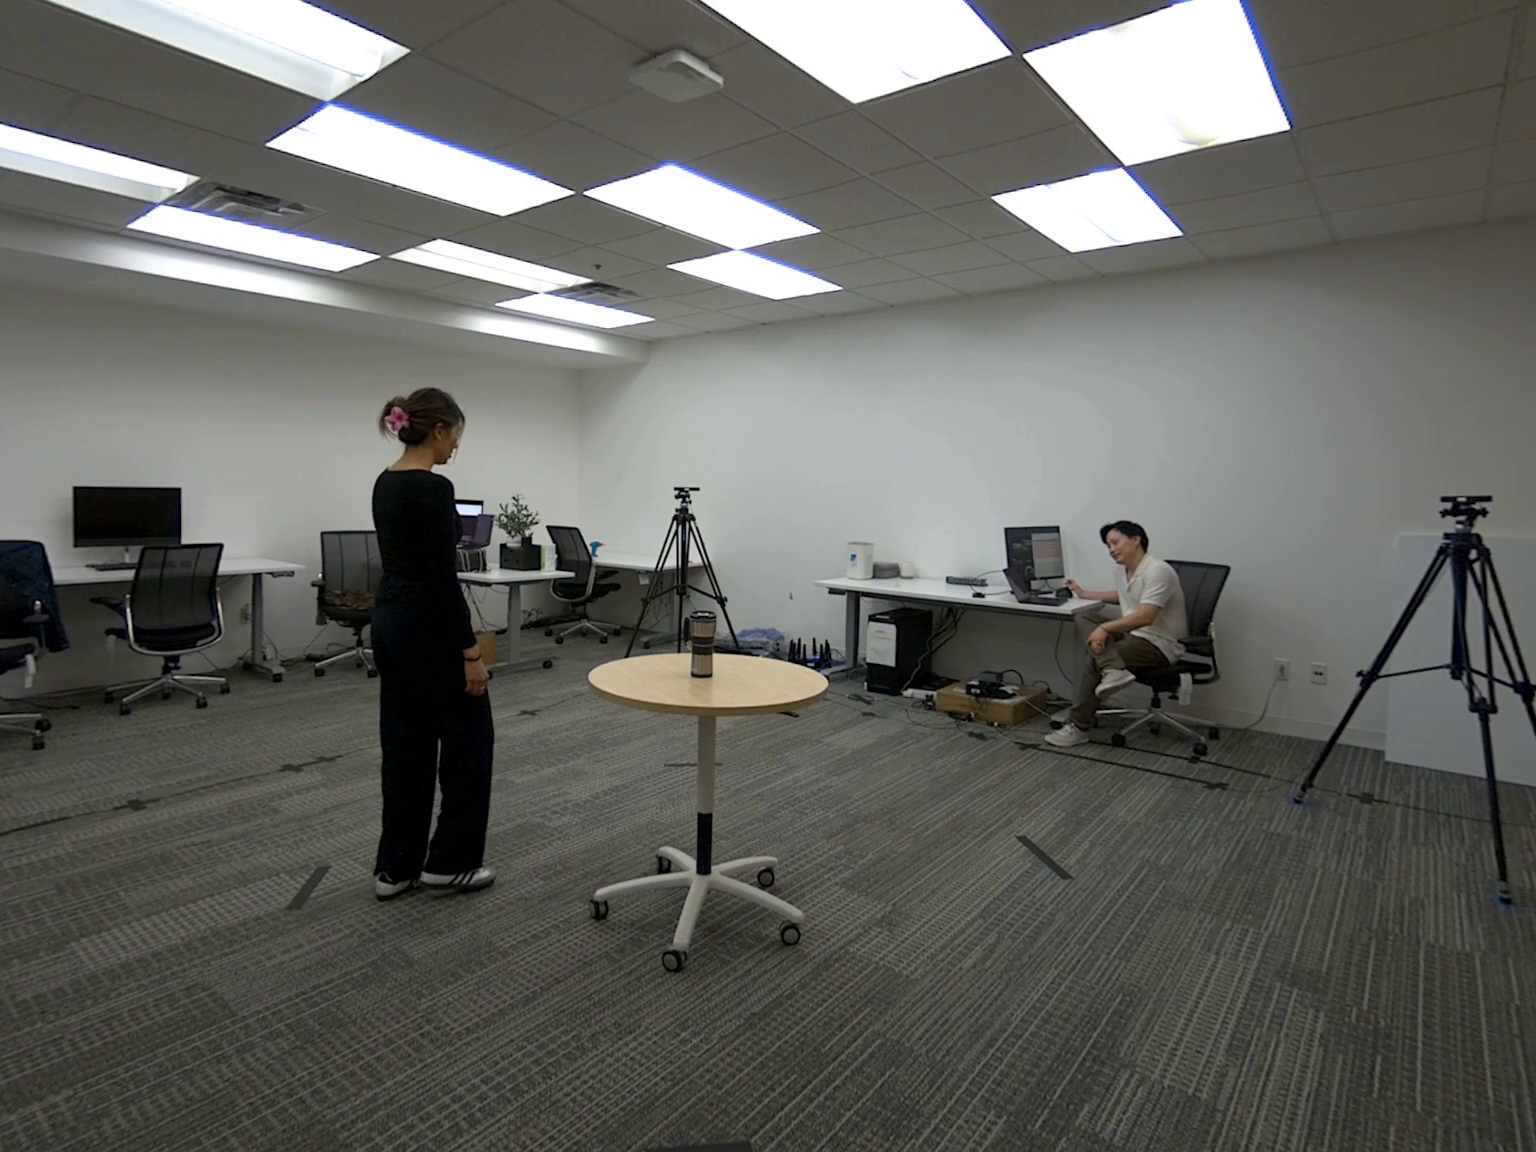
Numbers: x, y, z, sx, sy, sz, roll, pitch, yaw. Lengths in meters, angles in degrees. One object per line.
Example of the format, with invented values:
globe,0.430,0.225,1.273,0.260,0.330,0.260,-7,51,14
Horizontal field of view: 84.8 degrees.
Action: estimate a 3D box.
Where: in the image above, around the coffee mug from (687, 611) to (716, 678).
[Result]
coffee mug,-0.207,0.222,2.742,0.119,0.203,0.090,-5,2,-34
